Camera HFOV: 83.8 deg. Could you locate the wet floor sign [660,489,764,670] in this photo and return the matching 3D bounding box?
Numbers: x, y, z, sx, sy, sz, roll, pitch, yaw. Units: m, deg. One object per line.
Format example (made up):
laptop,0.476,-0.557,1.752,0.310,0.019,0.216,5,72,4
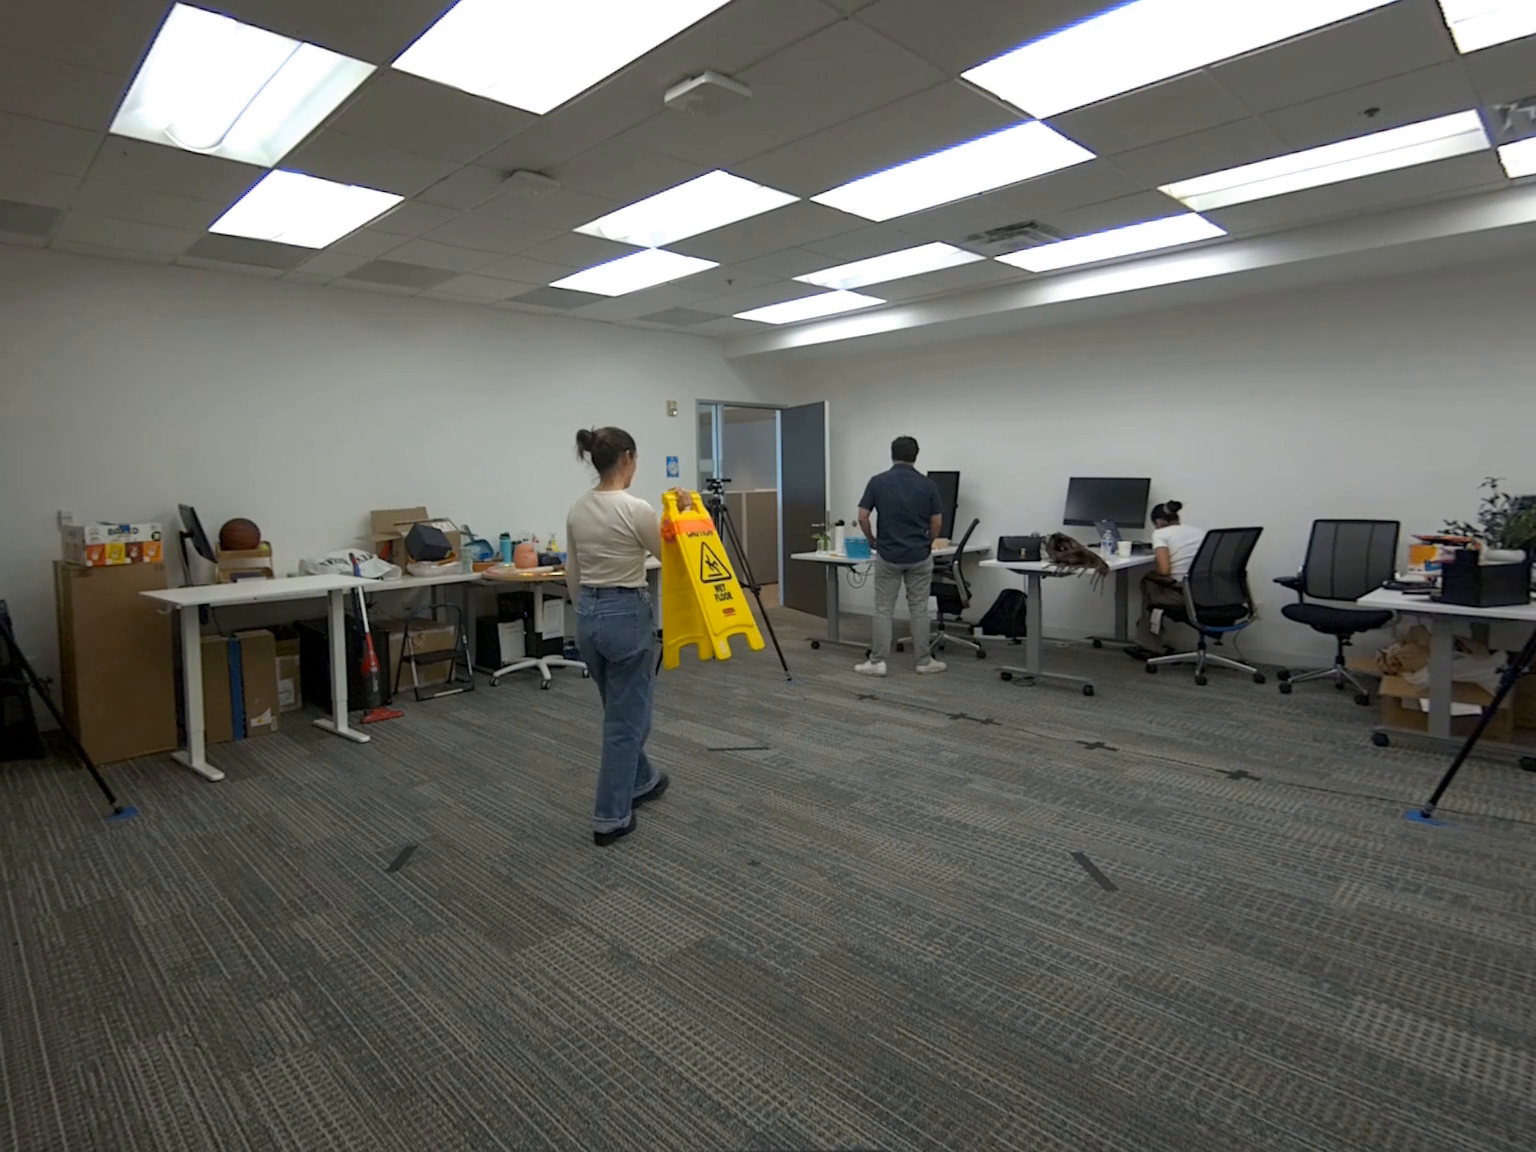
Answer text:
wet floor sign,-0.272,-0.004,3.234,0.295,0.651,0.275,-17,-7,36
